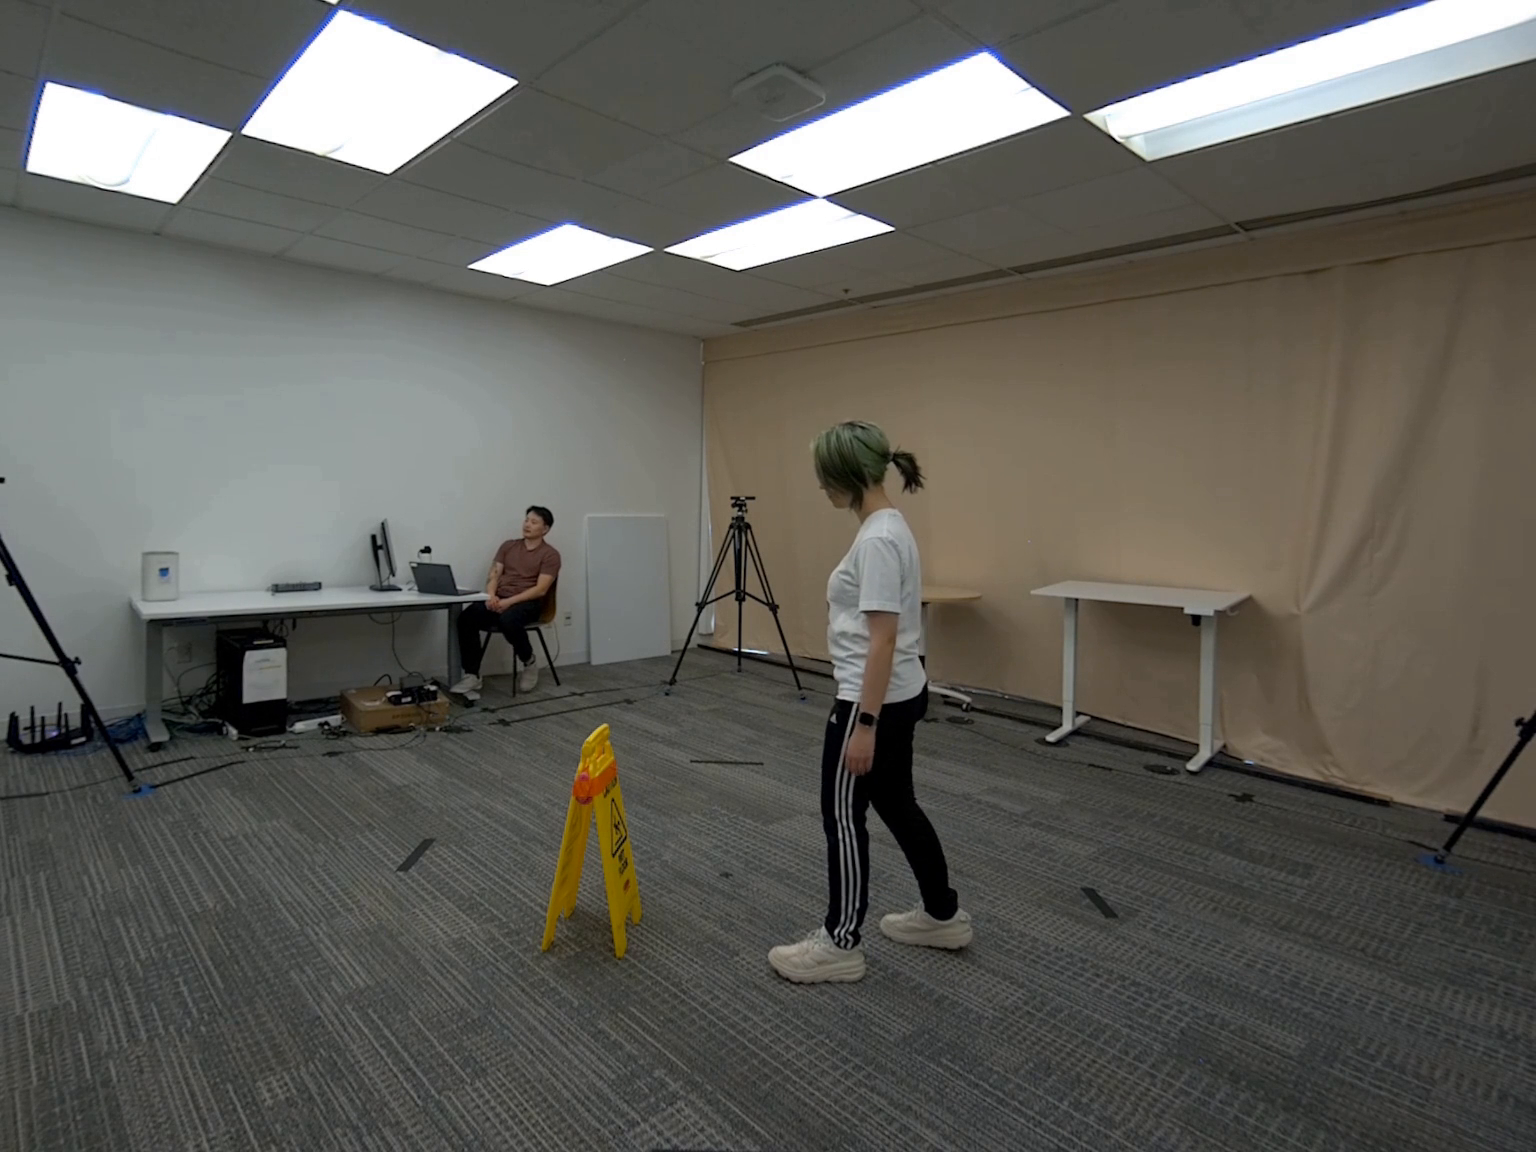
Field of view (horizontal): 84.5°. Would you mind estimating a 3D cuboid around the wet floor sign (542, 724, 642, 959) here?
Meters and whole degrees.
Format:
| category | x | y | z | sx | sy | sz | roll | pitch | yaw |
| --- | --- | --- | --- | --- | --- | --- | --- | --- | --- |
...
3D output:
| category | x | y | z | sx | sy | sz | roll | pitch | yaw |
| --- | --- | --- | --- | --- | --- | --- | --- | --- | --- |
| wet floor sign | -0.550 | 0.813 | 2.644 | 0.291 | 0.644 | 0.281 | 1 | 5 | 6 |
